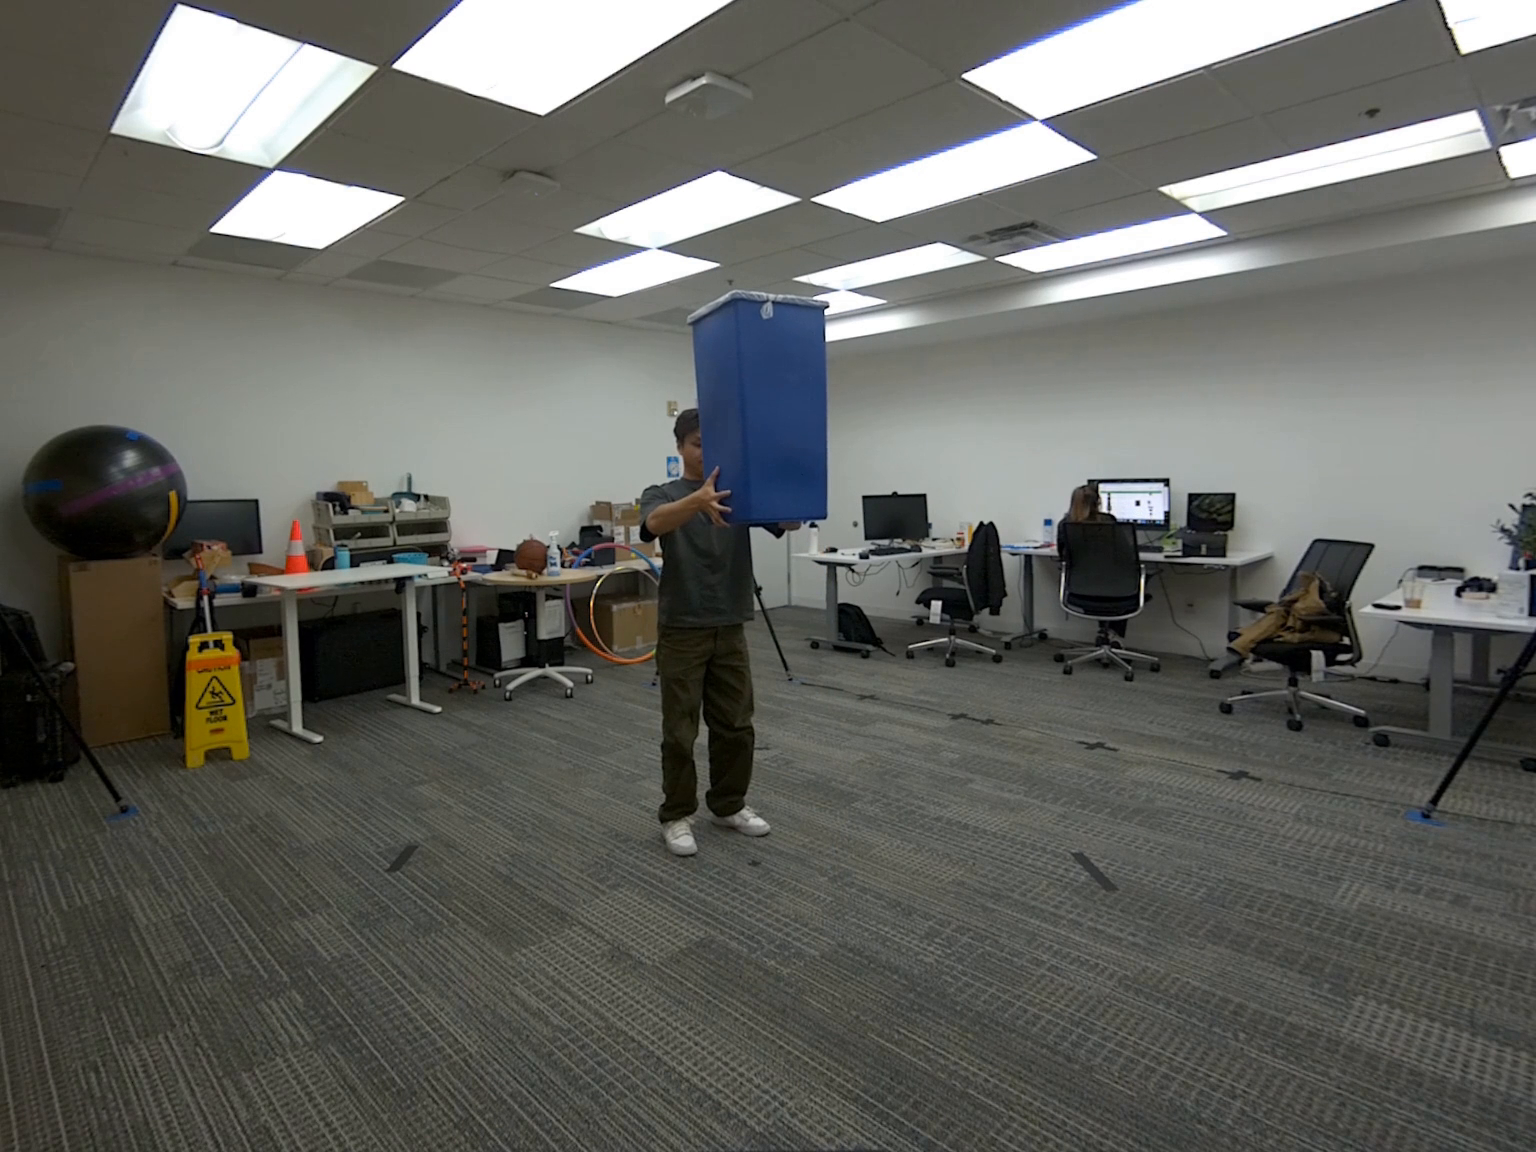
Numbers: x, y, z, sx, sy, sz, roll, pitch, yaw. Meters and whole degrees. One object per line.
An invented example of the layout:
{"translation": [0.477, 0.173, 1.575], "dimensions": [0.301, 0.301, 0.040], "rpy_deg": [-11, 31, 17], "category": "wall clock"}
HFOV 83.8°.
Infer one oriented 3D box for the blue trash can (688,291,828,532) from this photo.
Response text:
{"translation": [-0.013, -0.542, 2.854], "dimensions": [0.365, 0.714, 0.387], "rpy_deg": [-3, 0, -30], "category": "blue trash can"}
